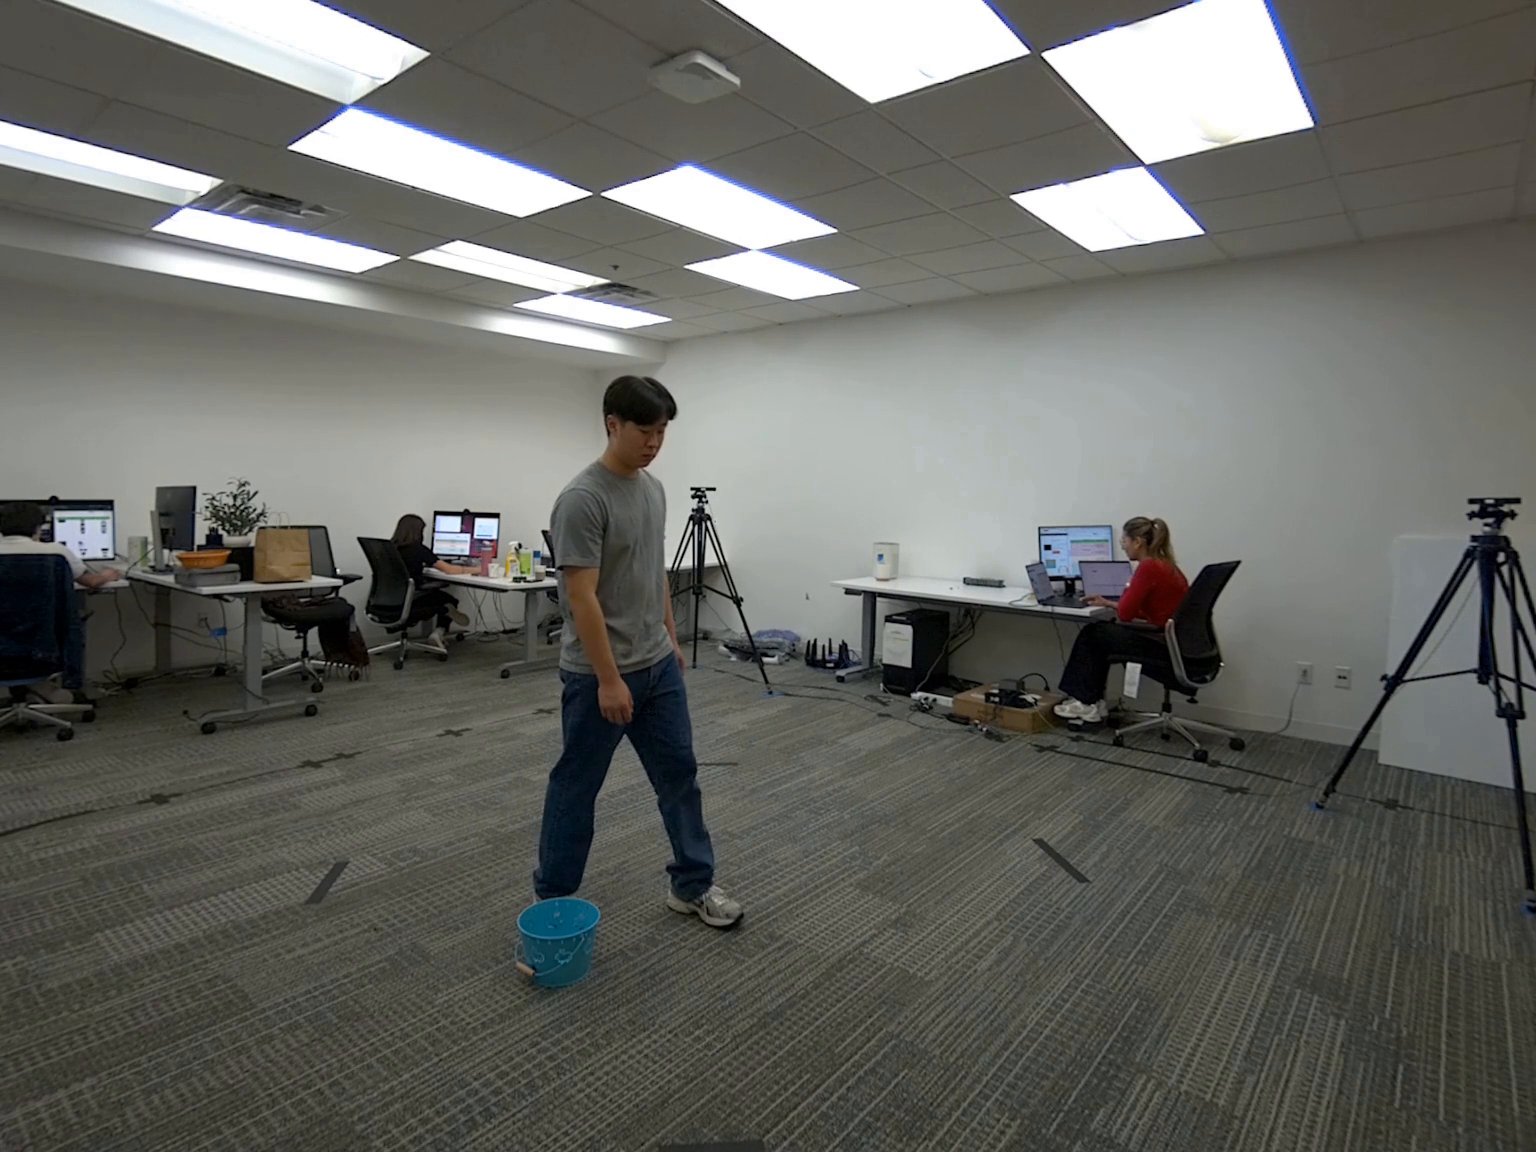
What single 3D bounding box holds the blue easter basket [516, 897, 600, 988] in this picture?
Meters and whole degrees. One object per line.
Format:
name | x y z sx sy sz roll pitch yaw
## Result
blue easter basket | -0.613 1.045 2.440 0.243 0.155 0.245 1 4 -2
